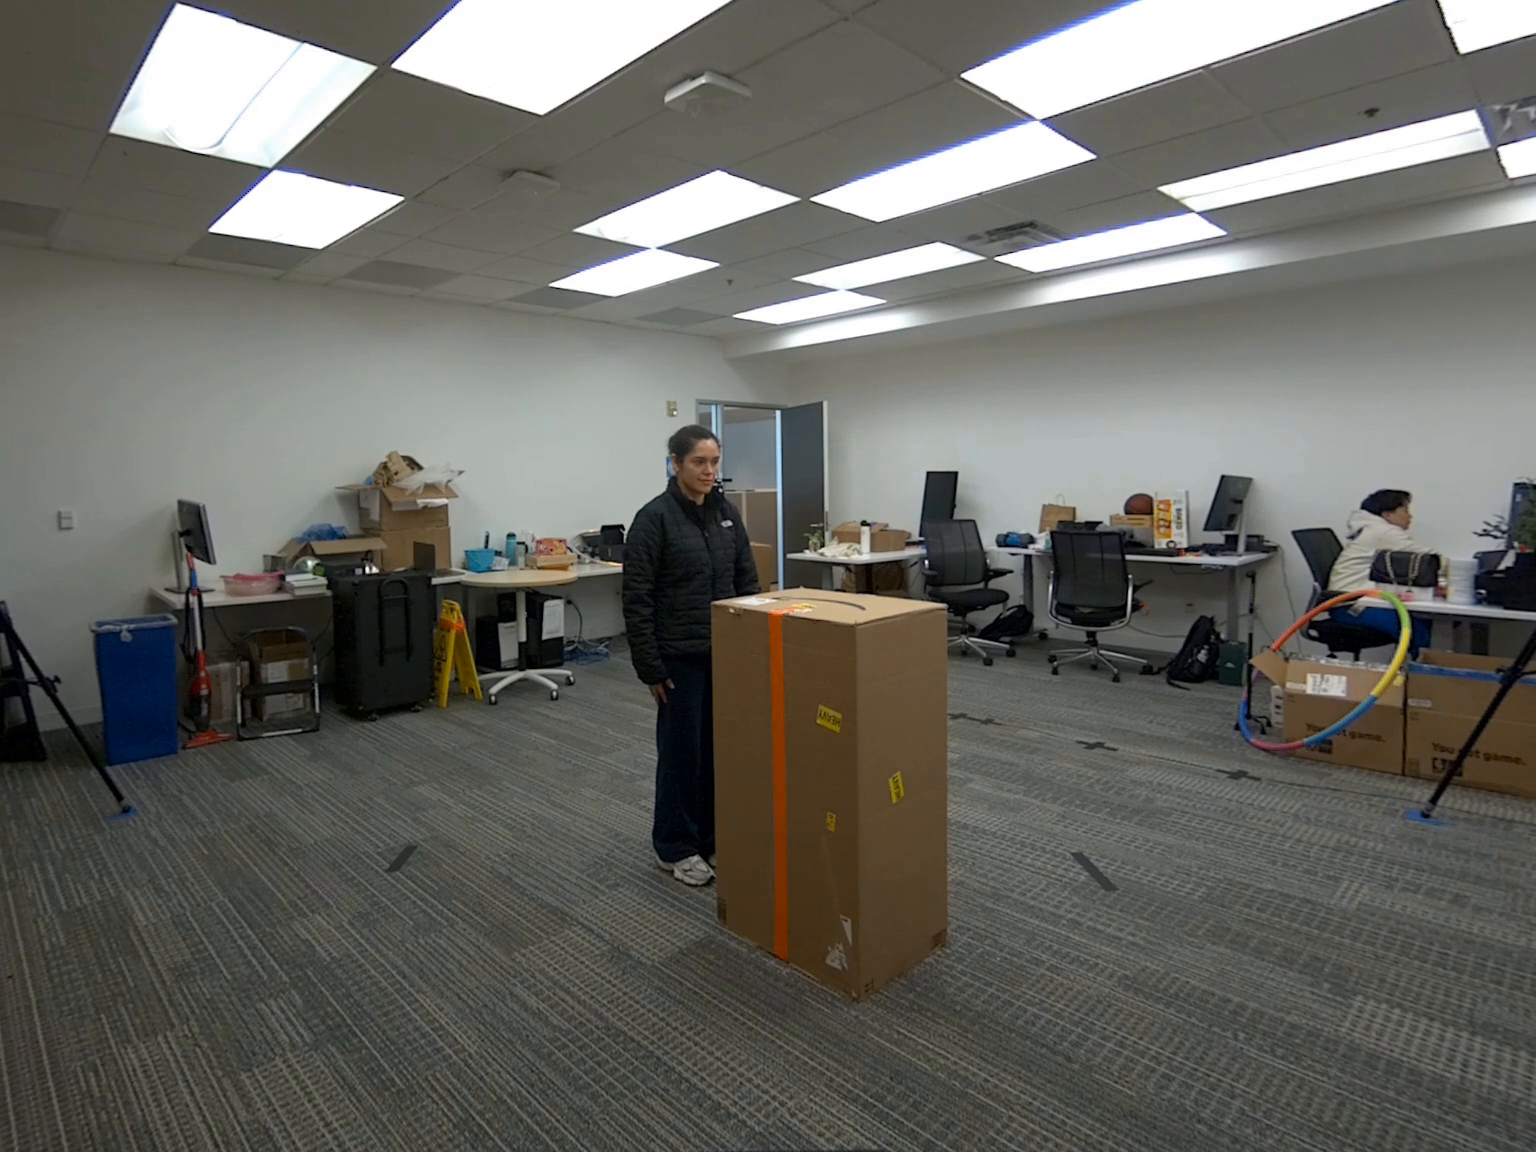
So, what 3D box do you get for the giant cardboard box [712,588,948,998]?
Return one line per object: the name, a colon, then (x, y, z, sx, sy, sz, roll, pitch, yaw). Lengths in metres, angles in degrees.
giant cardboard box: (0.185, 0.590, 2.595, 0.415, 1.022, 0.595, -5, 6, -44)
